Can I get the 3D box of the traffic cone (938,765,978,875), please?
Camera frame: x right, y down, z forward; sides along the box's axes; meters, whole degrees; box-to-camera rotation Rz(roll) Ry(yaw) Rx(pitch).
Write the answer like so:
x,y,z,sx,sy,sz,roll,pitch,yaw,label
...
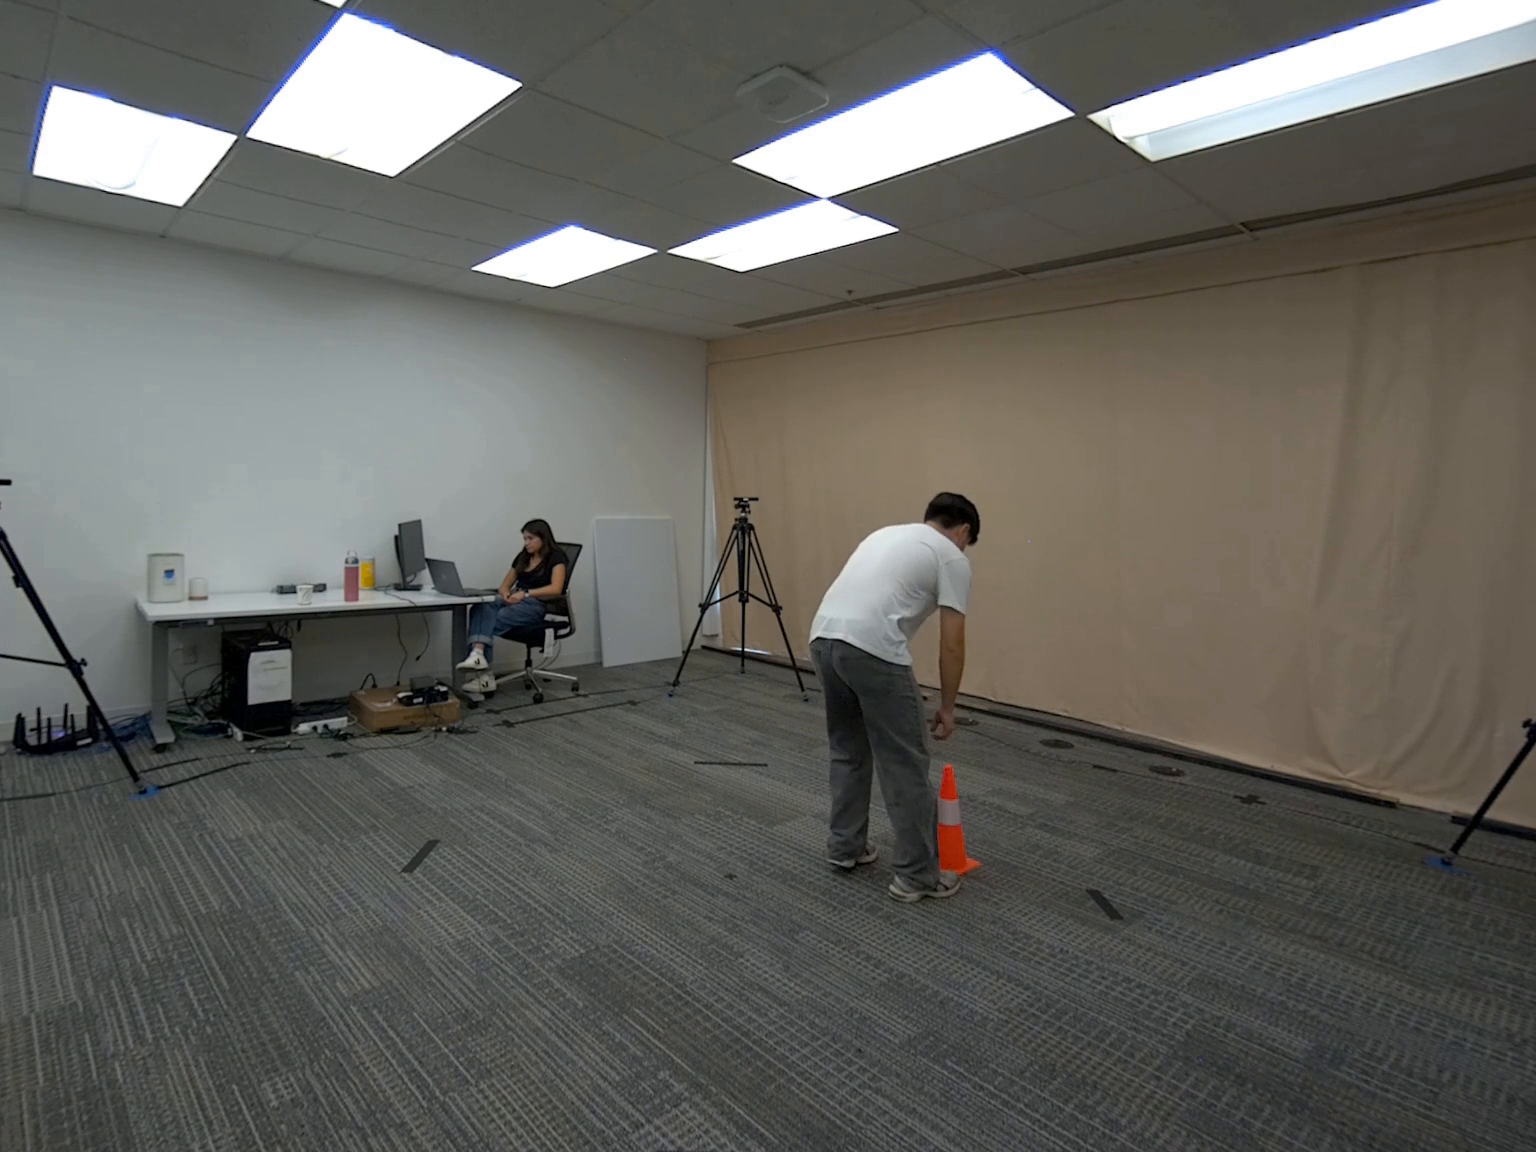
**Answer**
x,y,z,sx,sy,sz,roll,pitch,yaw,label
0.692,0.930,3.262,0.200,0.383,0.208,0,5,-38,traffic cone
